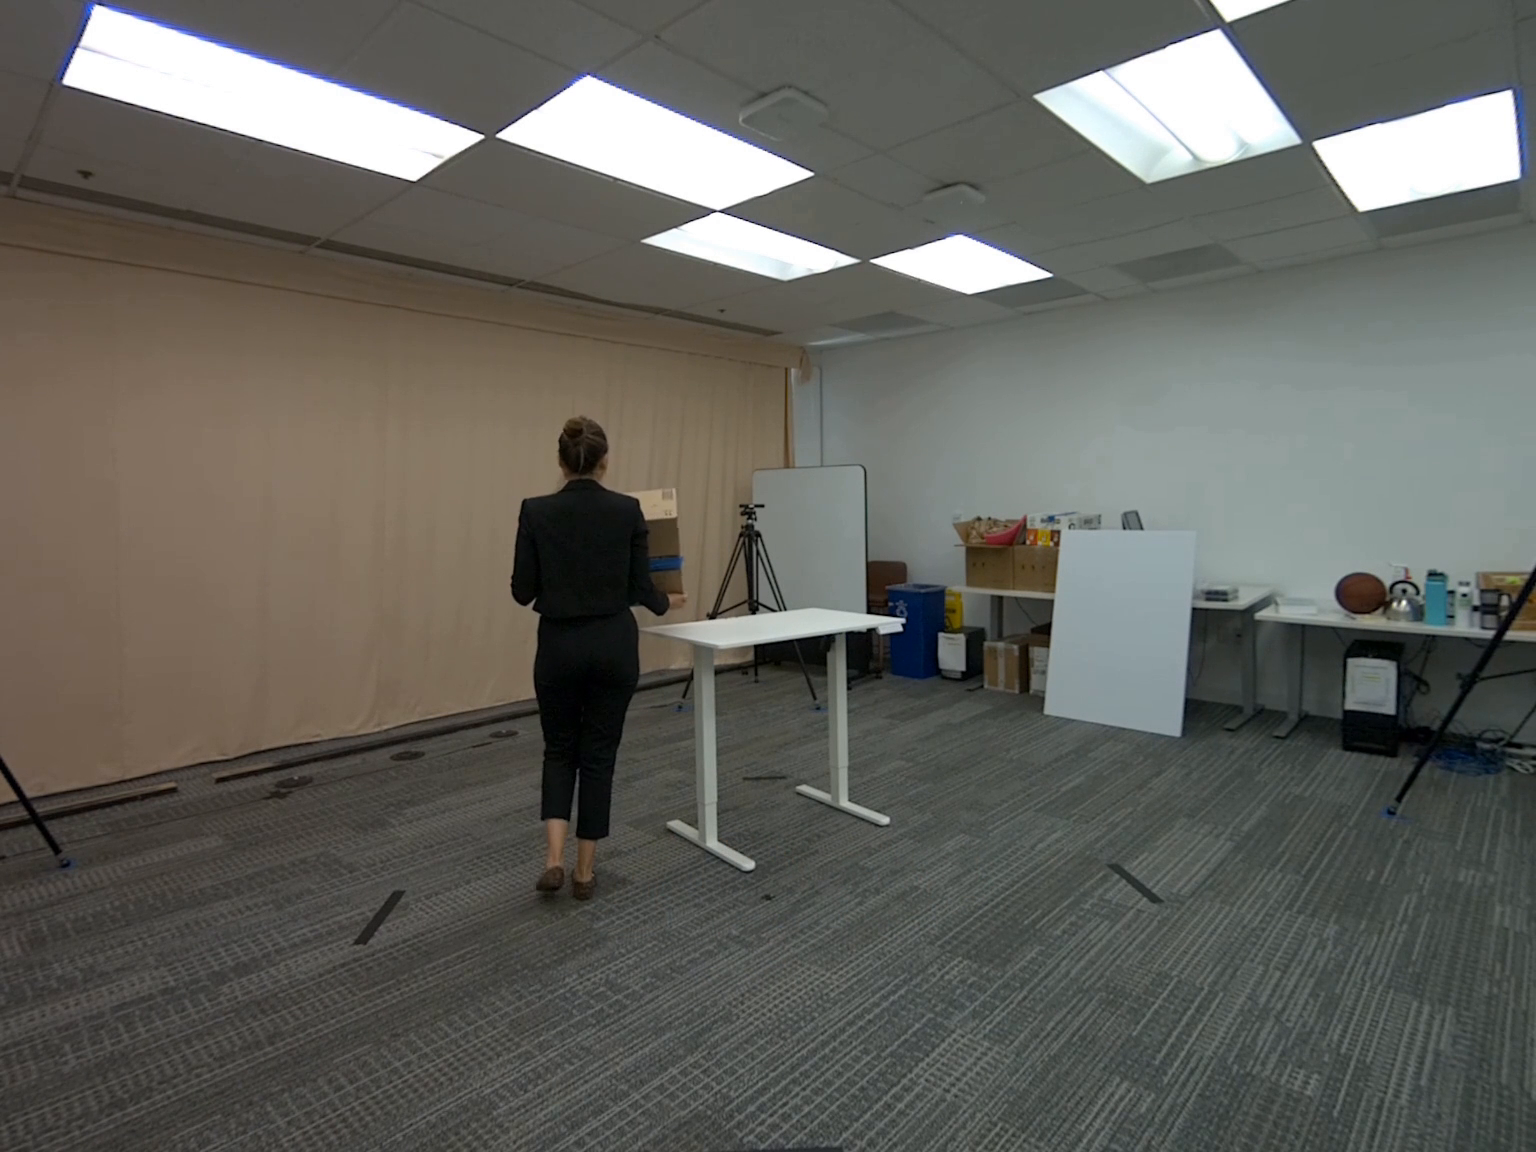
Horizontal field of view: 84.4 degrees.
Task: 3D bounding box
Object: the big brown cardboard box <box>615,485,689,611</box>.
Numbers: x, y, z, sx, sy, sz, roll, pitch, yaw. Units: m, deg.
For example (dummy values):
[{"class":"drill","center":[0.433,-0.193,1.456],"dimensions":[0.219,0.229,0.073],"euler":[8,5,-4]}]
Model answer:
[{"class":"big brown cardboard box","center":[-0.633,-0.093,3.360],"dimensions":[0.588,0.409,0.238],"euler":[-6,36,-2]}]
